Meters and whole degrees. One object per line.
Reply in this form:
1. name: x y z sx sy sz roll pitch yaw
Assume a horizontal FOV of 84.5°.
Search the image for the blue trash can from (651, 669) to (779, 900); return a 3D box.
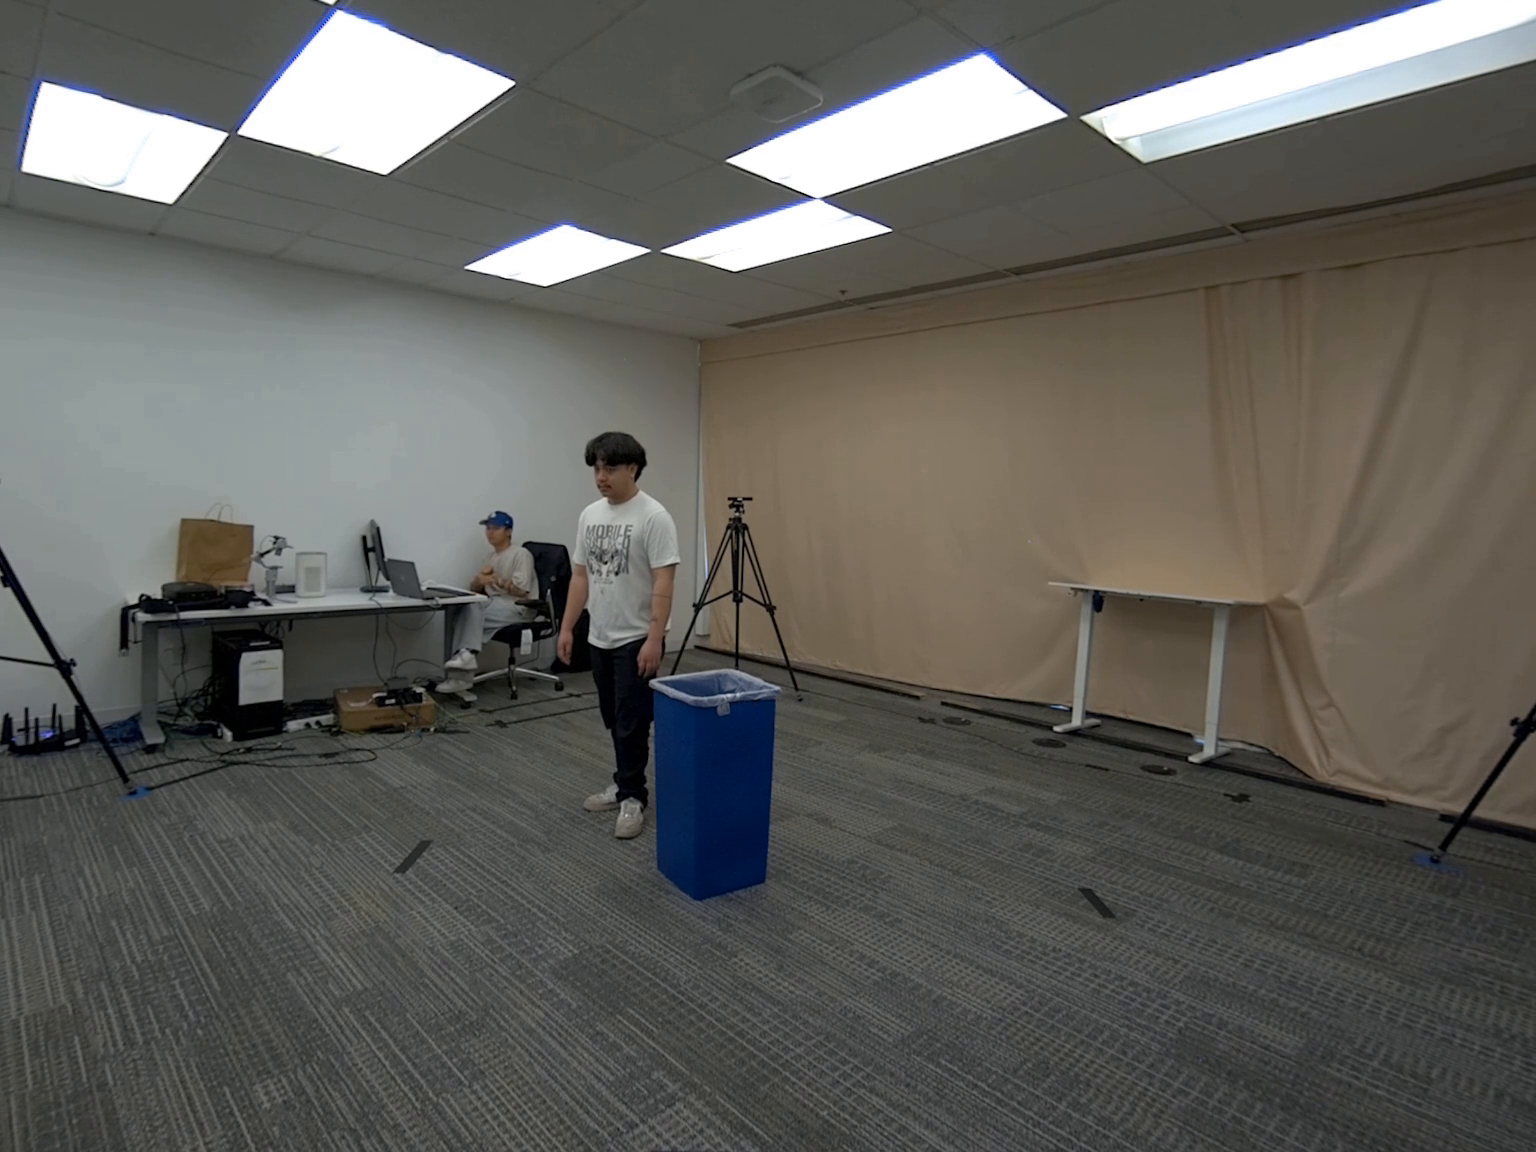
1. blue trash can: -0.216 0.749 3.095 0.370 0.712 0.383 -1 4 -34
